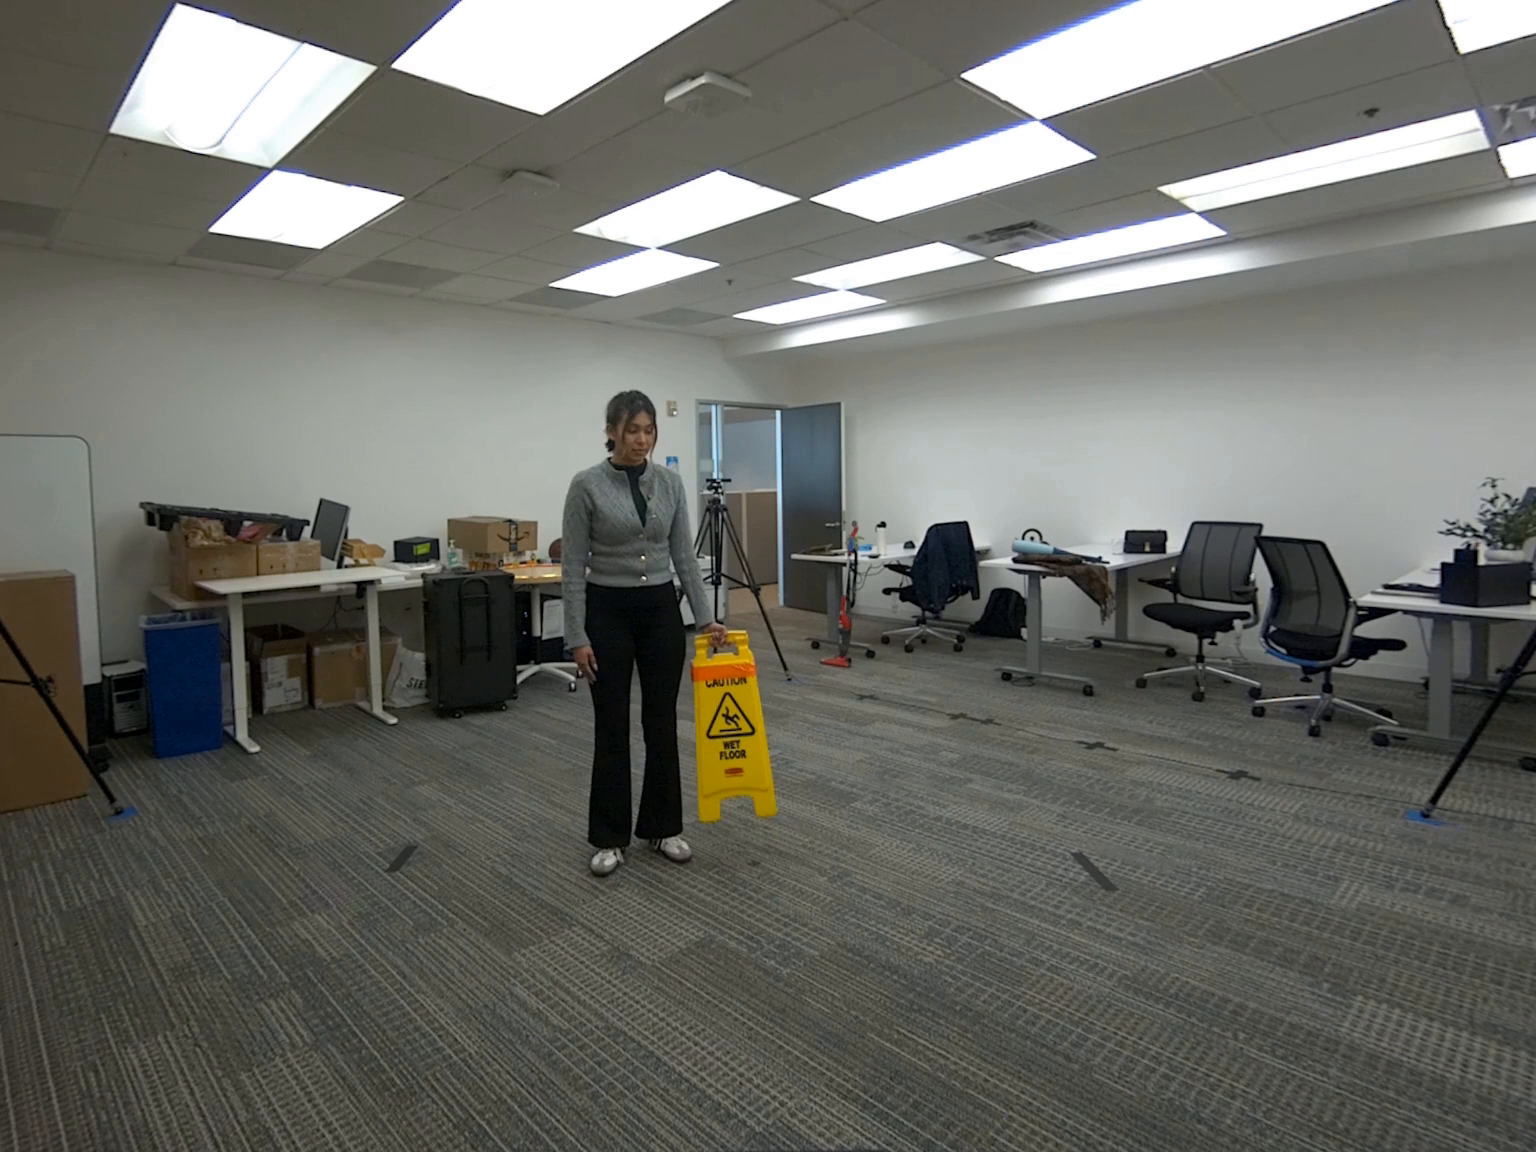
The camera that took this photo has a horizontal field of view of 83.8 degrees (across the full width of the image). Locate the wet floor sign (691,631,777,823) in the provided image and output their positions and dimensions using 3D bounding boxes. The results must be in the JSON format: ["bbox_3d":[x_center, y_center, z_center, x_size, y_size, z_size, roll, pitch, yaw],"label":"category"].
[{"bbox_3d":[-0.141,0.535,3.170,0.282,0.645,0.290,-6,2,-2],"label":"wet floor sign"}]
